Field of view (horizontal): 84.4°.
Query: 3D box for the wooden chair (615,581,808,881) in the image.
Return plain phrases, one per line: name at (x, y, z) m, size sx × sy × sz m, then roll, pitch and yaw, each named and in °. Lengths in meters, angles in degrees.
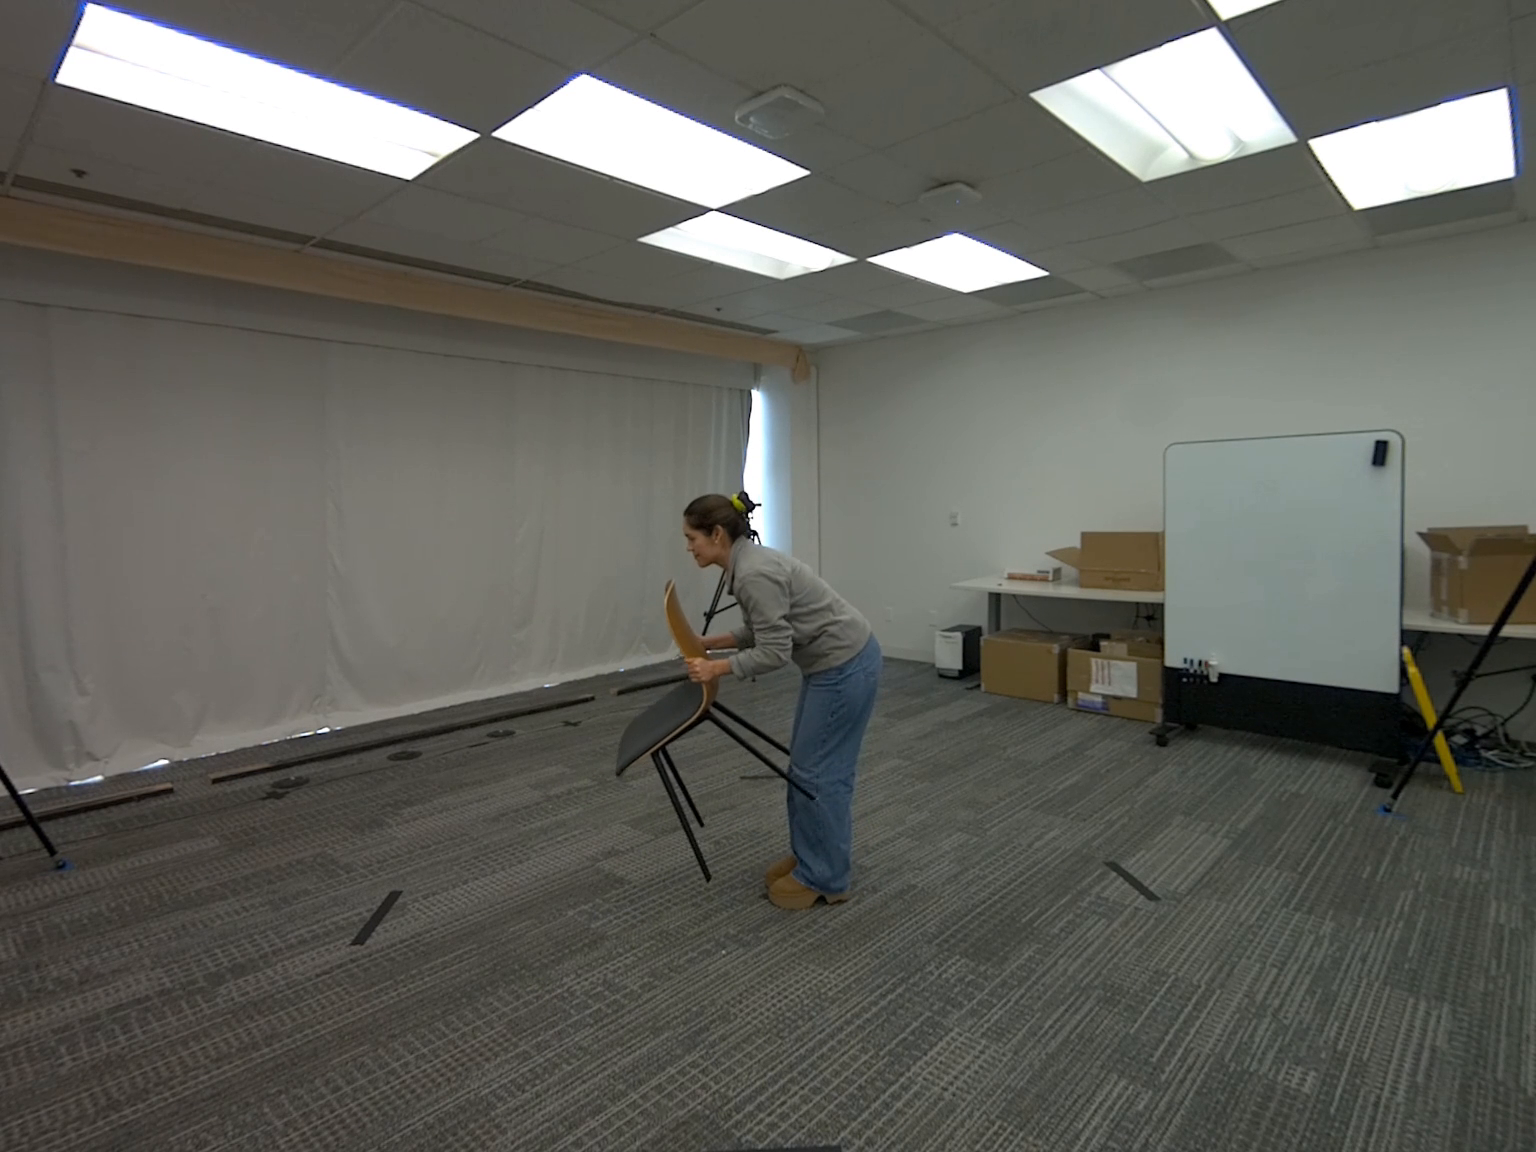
wooden chair at (-0.311, 0.519, 2.947) m, size 0.523 × 0.870 × 0.482 m, roll -32°, pitch 7°, yaw -1°
